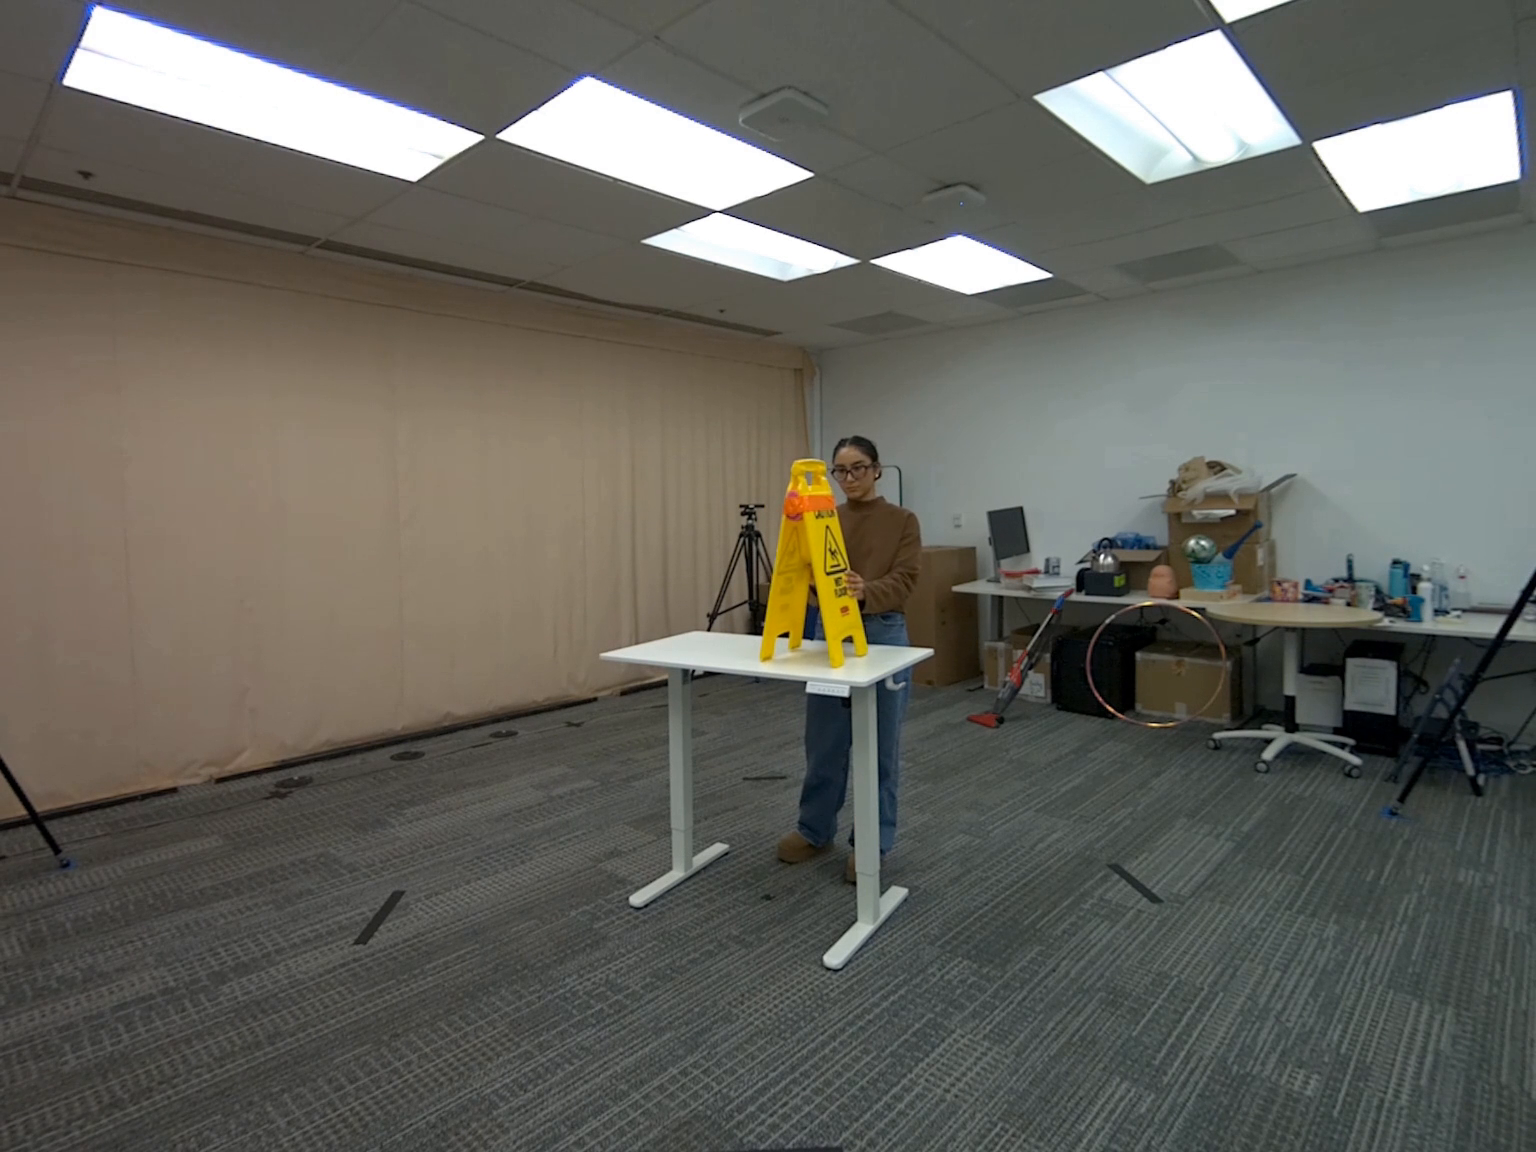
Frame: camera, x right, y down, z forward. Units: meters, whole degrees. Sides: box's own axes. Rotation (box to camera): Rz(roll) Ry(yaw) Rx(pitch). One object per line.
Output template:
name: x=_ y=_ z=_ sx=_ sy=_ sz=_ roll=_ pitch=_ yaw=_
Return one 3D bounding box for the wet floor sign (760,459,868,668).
wet floor sign: x=0.150 y=-0.052 z=2.758 sx=0.298 sy=0.644 sz=0.275 roll=1 pitch=6 yaw=30
